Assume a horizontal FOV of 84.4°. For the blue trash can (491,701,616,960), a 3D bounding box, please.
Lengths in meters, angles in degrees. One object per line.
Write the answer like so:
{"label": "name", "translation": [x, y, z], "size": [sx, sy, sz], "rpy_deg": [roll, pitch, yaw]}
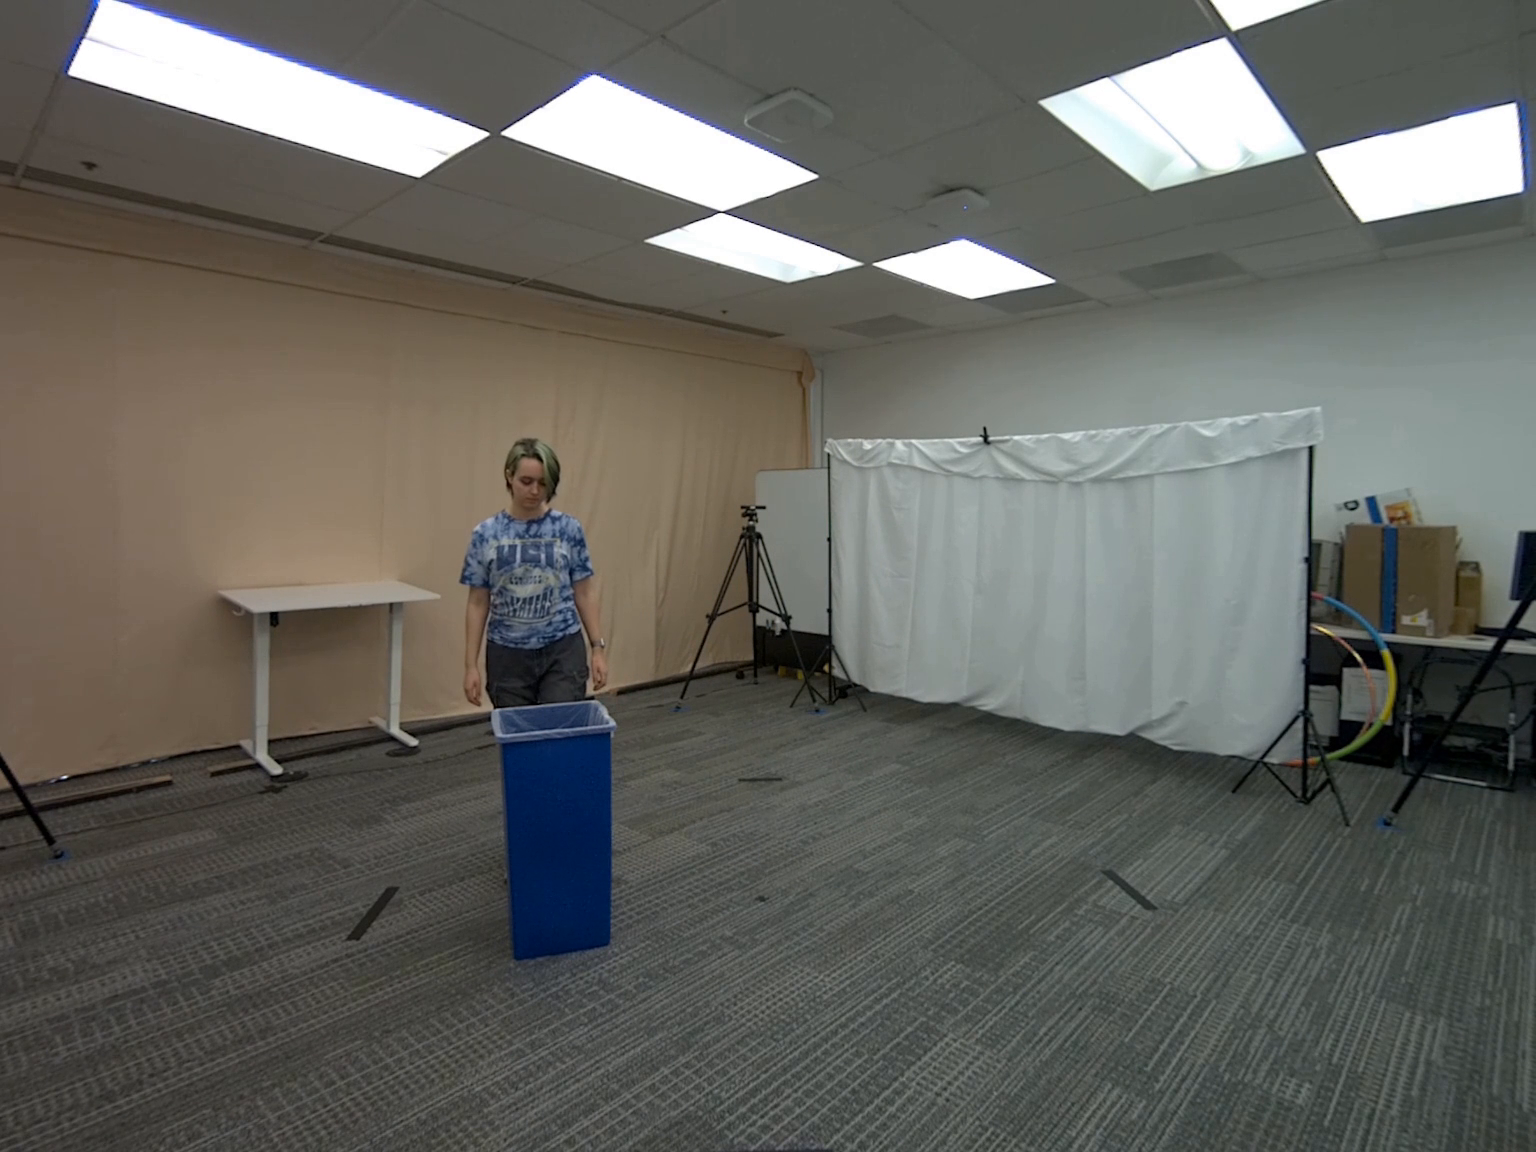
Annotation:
{"label": "blue trash can", "translation": [-0.700, 0.815, 2.744], "size": [0.367, 0.712, 0.386], "rpy_deg": [-2, 3, -19]}
